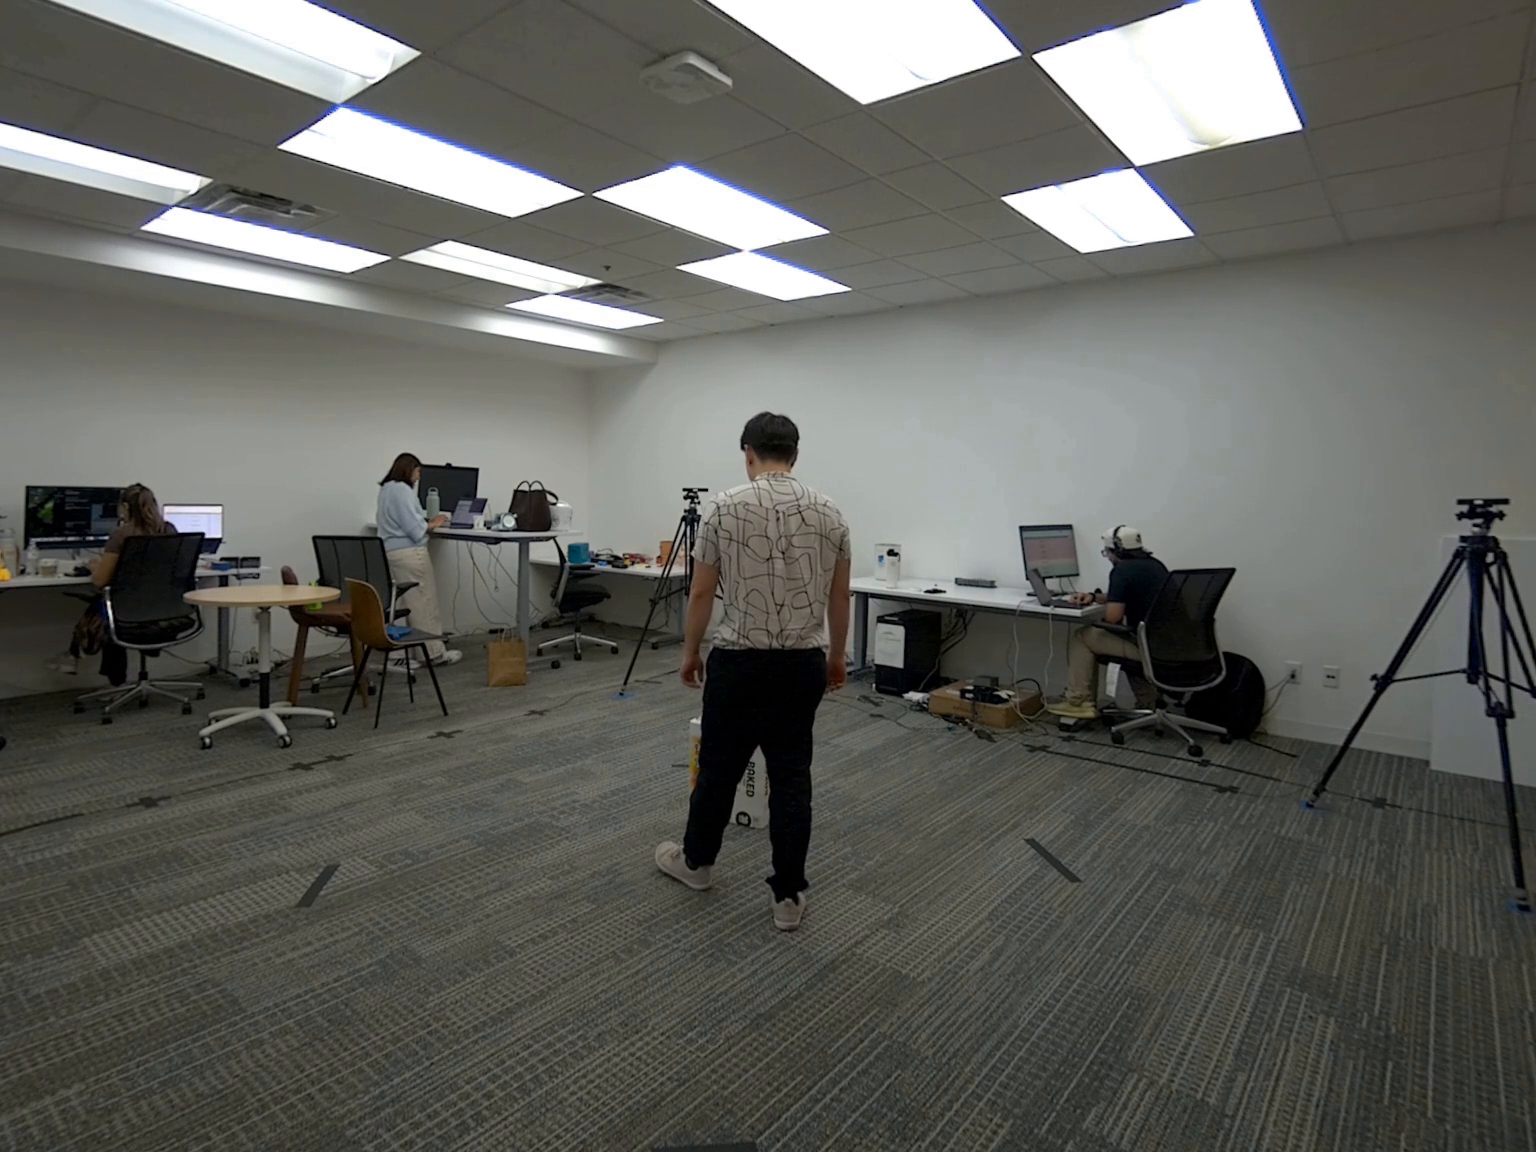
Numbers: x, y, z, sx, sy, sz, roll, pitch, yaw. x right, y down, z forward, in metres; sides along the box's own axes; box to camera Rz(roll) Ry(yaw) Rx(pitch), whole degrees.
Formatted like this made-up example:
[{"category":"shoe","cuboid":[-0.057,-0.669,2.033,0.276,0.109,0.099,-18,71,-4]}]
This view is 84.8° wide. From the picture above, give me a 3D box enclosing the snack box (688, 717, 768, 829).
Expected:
[{"category":"snack box","cuboid":[-0.150,0.814,3.633,0.349,0.404,0.201,2,3,24]}]
